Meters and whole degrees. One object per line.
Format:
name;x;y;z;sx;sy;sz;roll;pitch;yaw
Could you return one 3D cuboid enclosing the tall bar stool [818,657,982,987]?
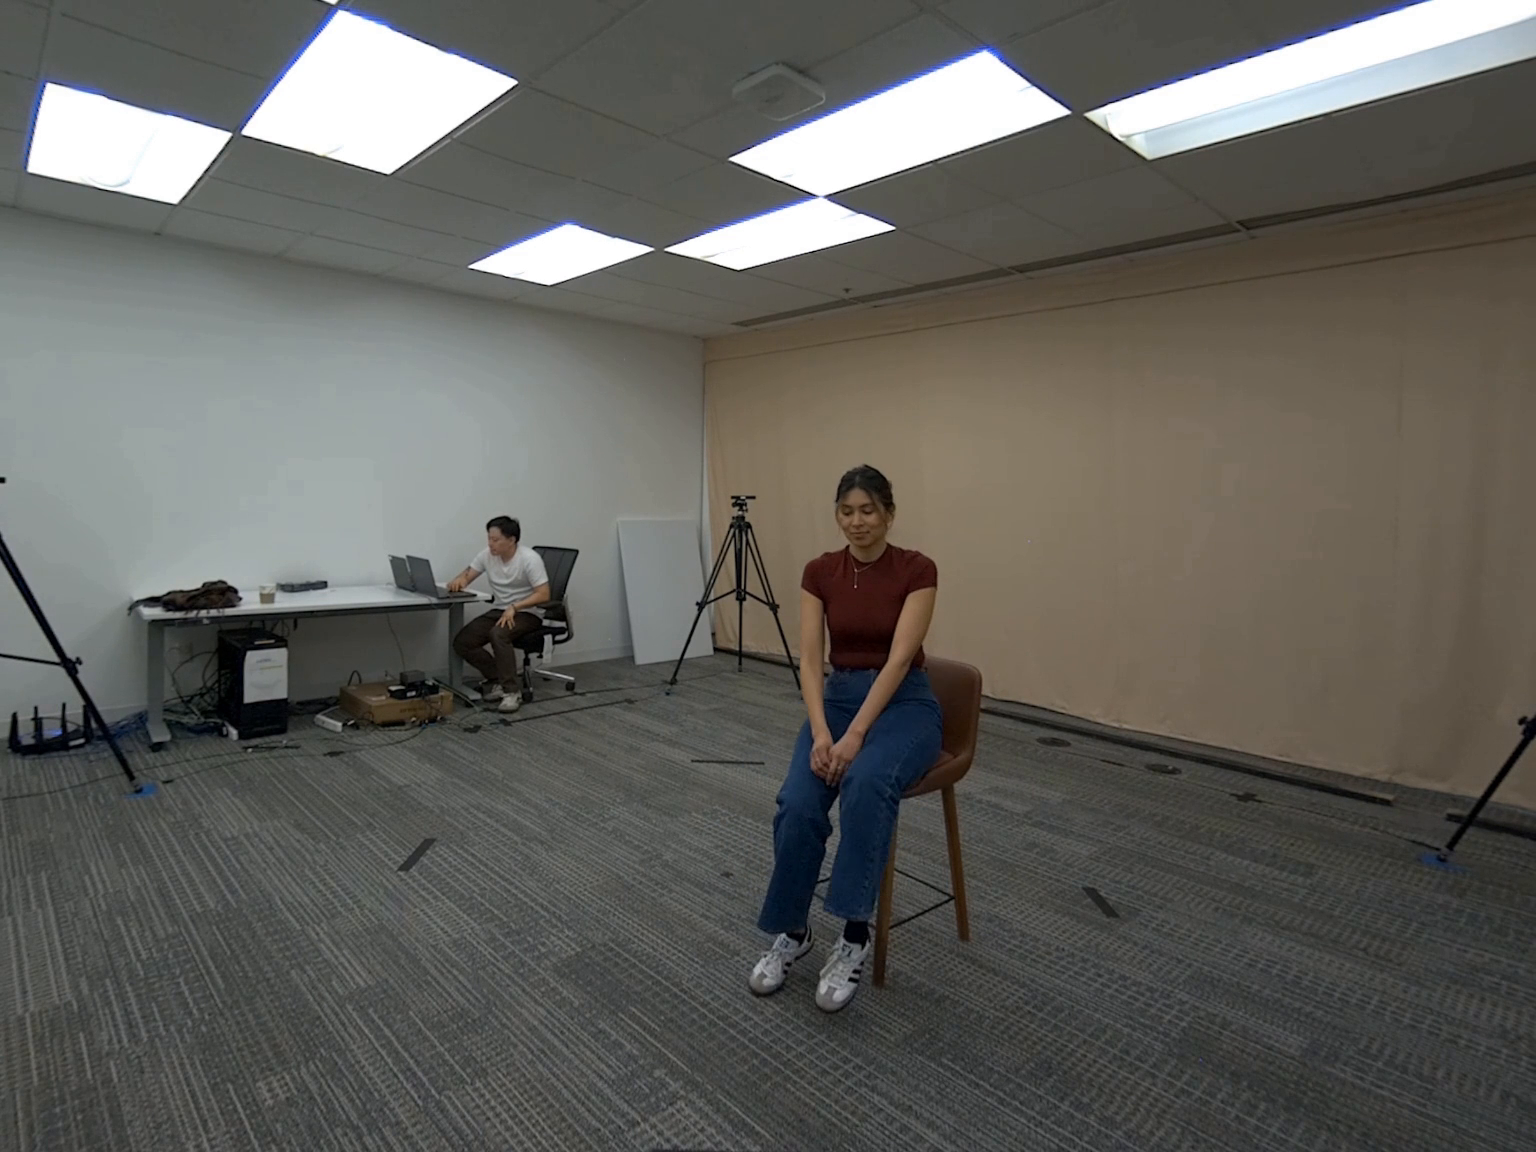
tall bar stool;0.375;0.723;2.672;0.456;0.888;0.468;1;4;-40
